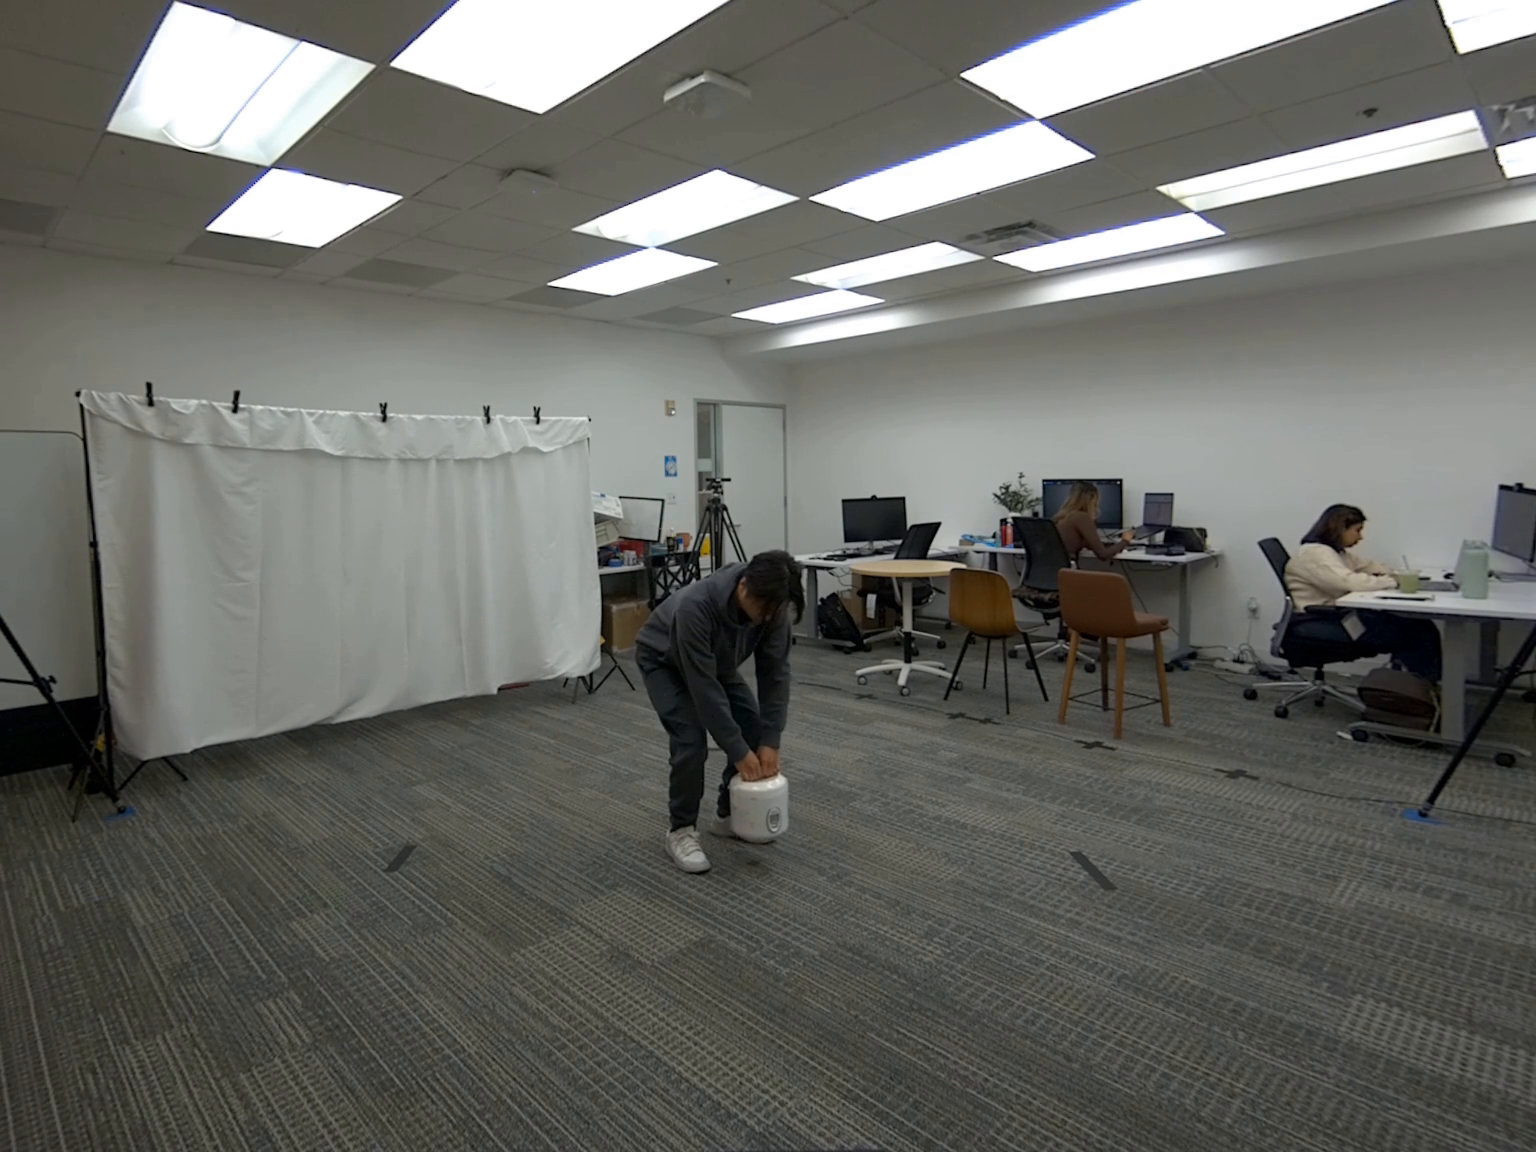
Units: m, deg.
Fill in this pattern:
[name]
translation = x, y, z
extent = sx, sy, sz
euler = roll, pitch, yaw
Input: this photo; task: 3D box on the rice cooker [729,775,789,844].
[rice cooker]
translation = -0.027, 0.803, 3.072
extent = 0.216, 0.232, 0.223
euler = -5, 5, -27
